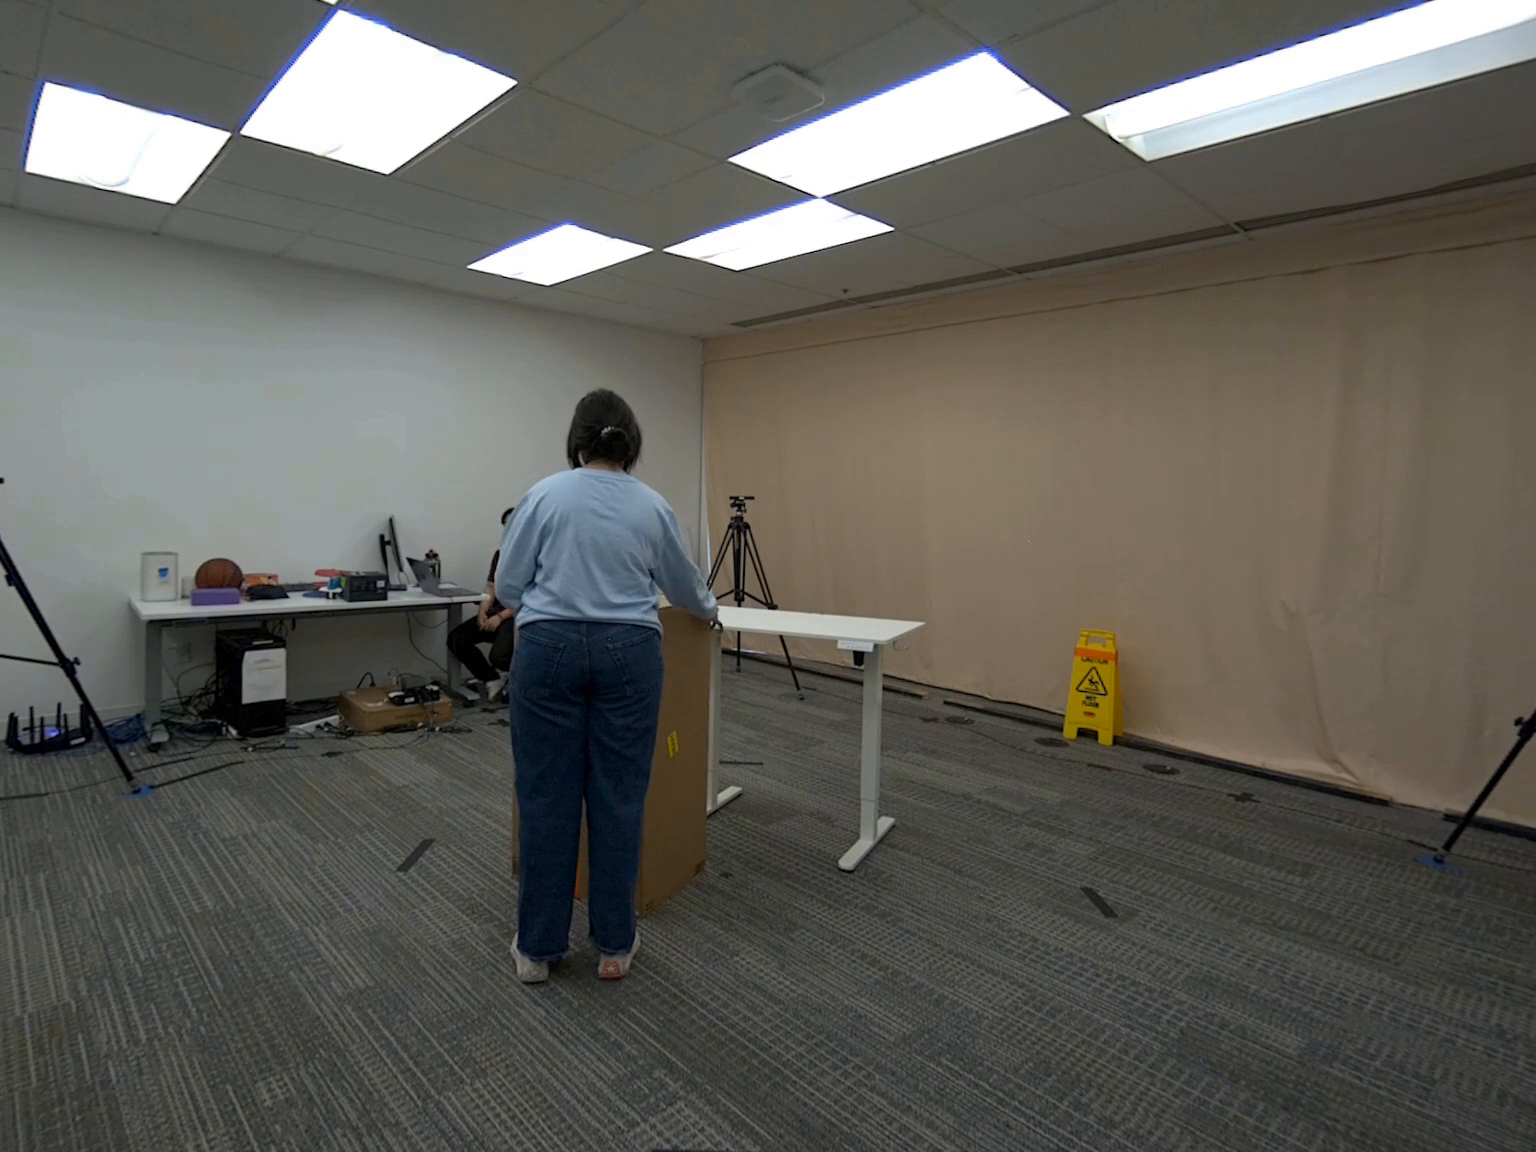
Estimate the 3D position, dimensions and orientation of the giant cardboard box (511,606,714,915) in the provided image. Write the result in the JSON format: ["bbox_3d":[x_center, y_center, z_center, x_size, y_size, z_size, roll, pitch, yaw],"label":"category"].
[{"bbox_3d":[-0.571,0.592,3.063,0.590,1.023,0.418,4,4,28],"label":"giant cardboard box"}]
